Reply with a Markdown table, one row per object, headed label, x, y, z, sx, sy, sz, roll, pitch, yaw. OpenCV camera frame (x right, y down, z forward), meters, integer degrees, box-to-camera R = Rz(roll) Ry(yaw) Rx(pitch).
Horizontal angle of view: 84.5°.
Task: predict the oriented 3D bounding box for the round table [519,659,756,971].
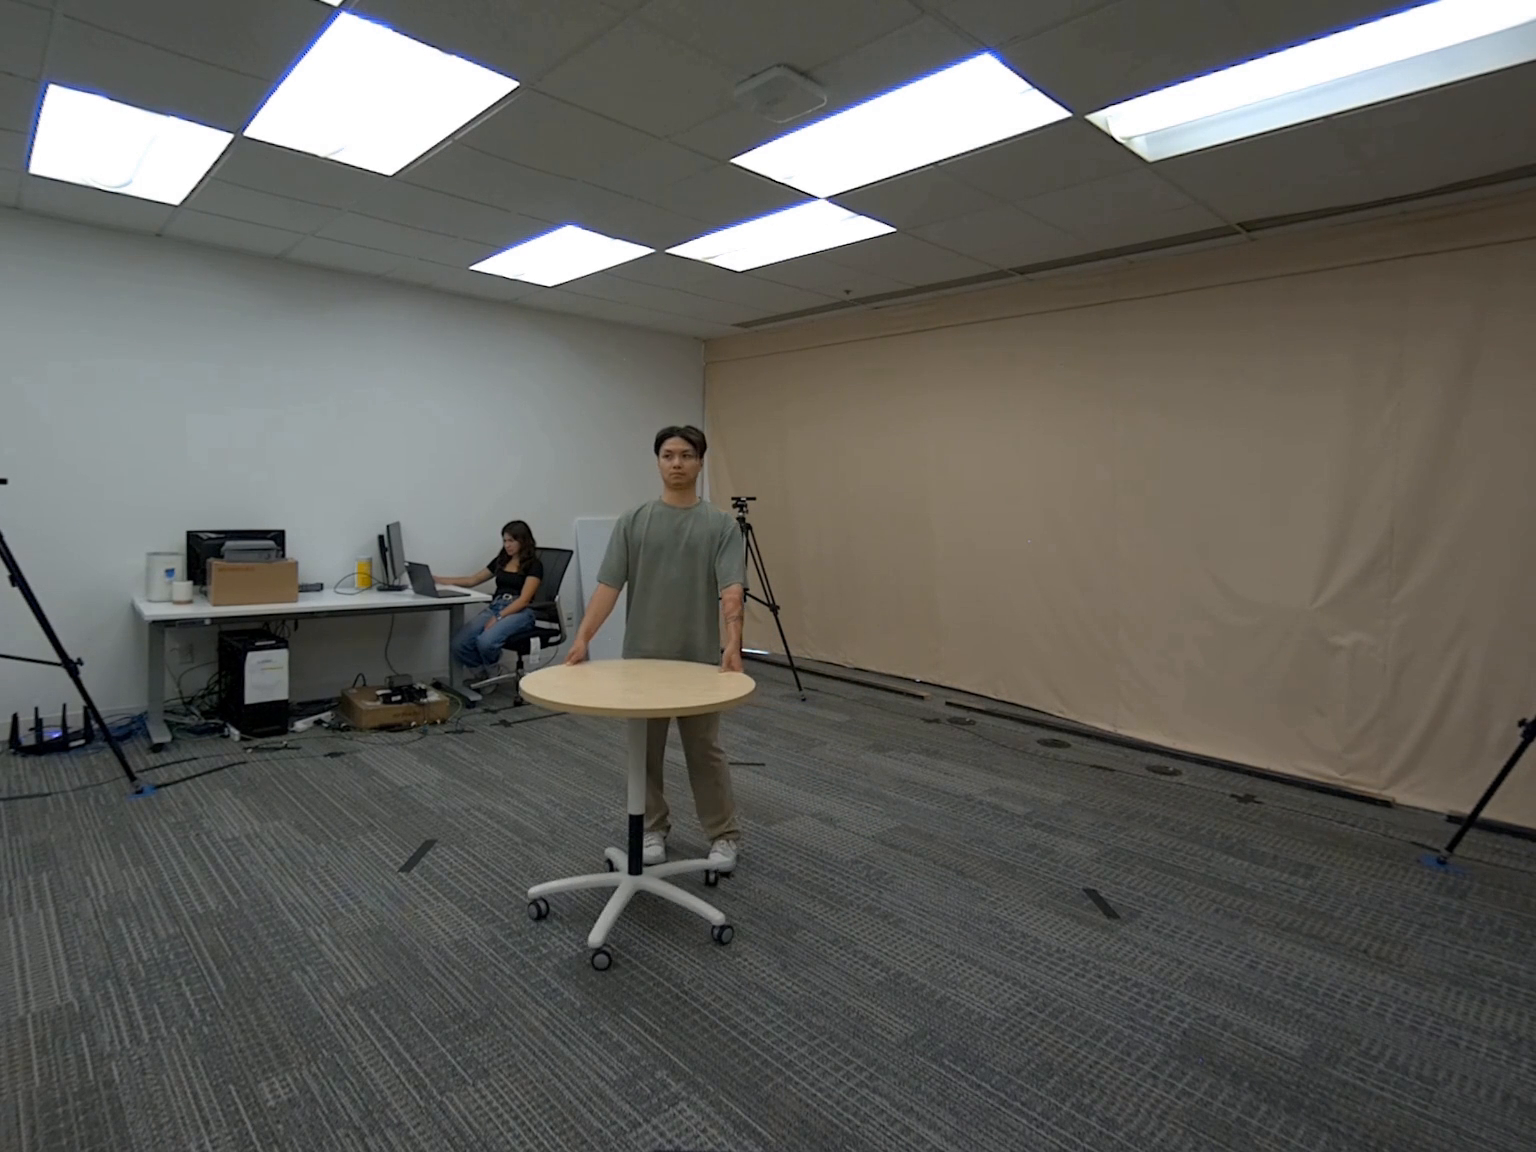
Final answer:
| label | x | y | z | sx | sy | sz | roll | pitch | yaw |
| --- | --- | --- | --- | --- | --- | --- | --- | --- | --- |
| round table | -0.450 | 0.739 | 2.770 | 0.784 | 0.785 | 0.787 | 1 | 3 | -1 |
